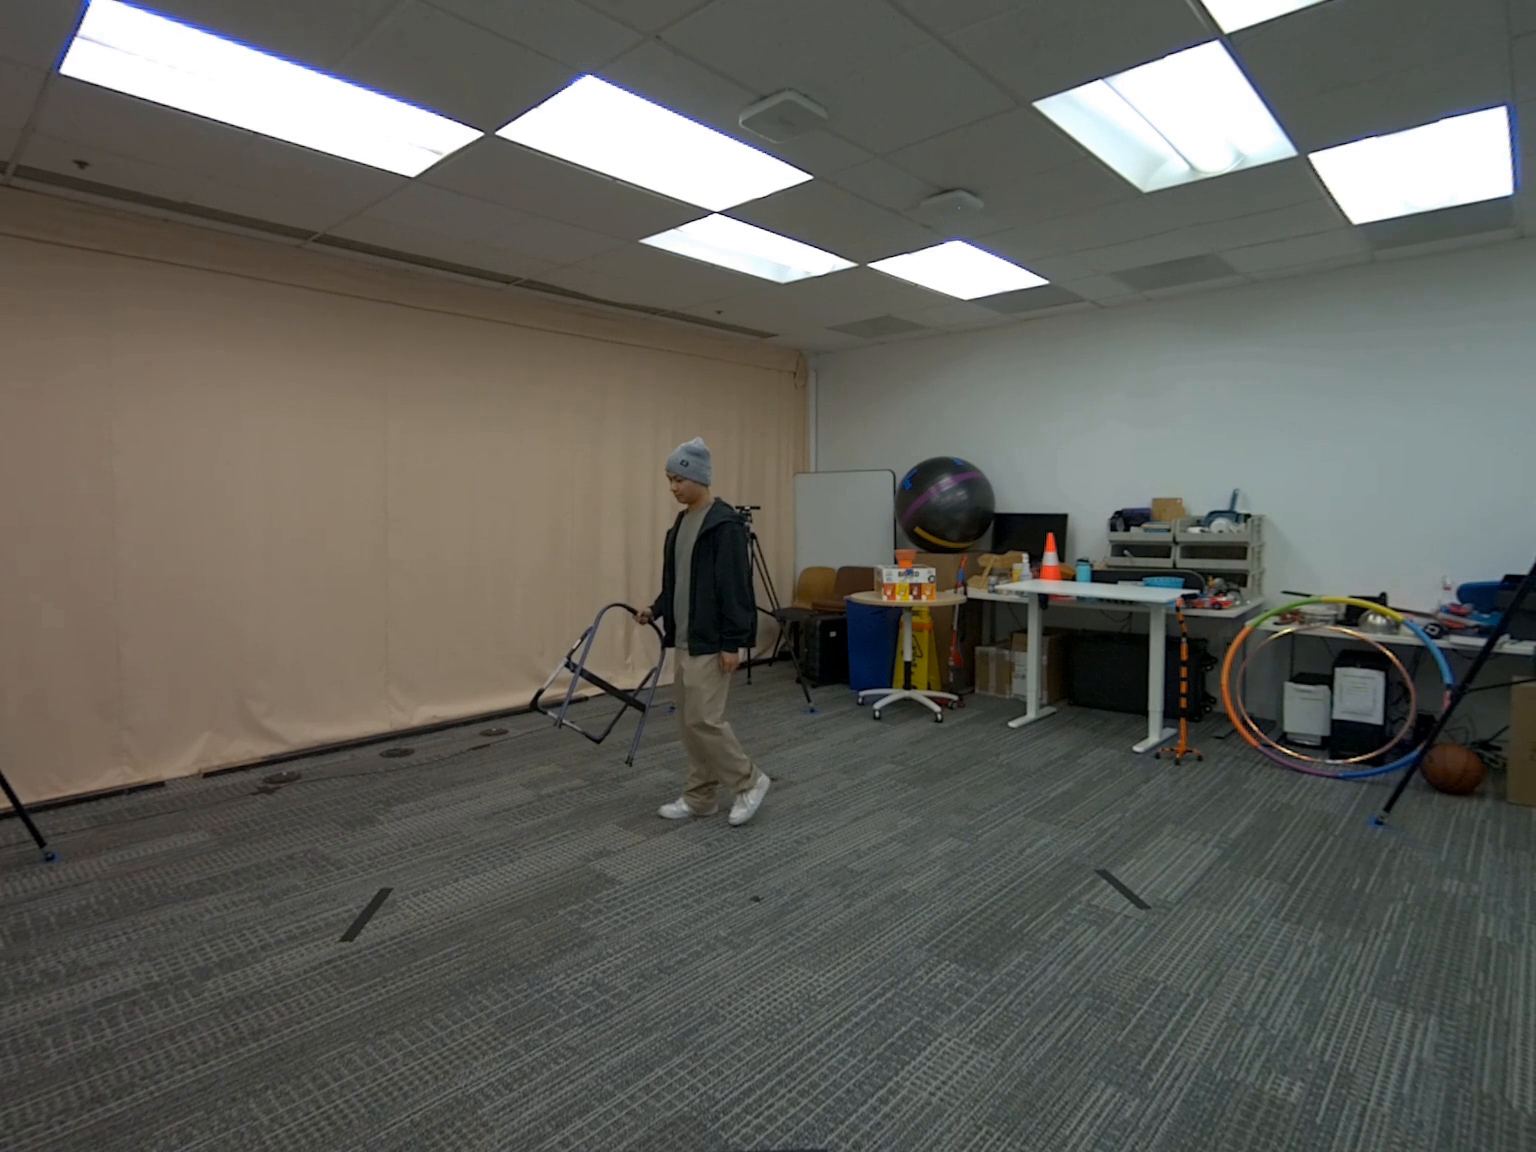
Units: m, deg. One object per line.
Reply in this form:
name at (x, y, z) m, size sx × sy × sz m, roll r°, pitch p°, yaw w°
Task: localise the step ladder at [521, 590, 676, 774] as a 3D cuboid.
step ladder at (-0.690, 0.455, 3.727) m, size 0.416 × 0.606 × 0.361 m, roll 37°, pitch -14°, yaw -33°
